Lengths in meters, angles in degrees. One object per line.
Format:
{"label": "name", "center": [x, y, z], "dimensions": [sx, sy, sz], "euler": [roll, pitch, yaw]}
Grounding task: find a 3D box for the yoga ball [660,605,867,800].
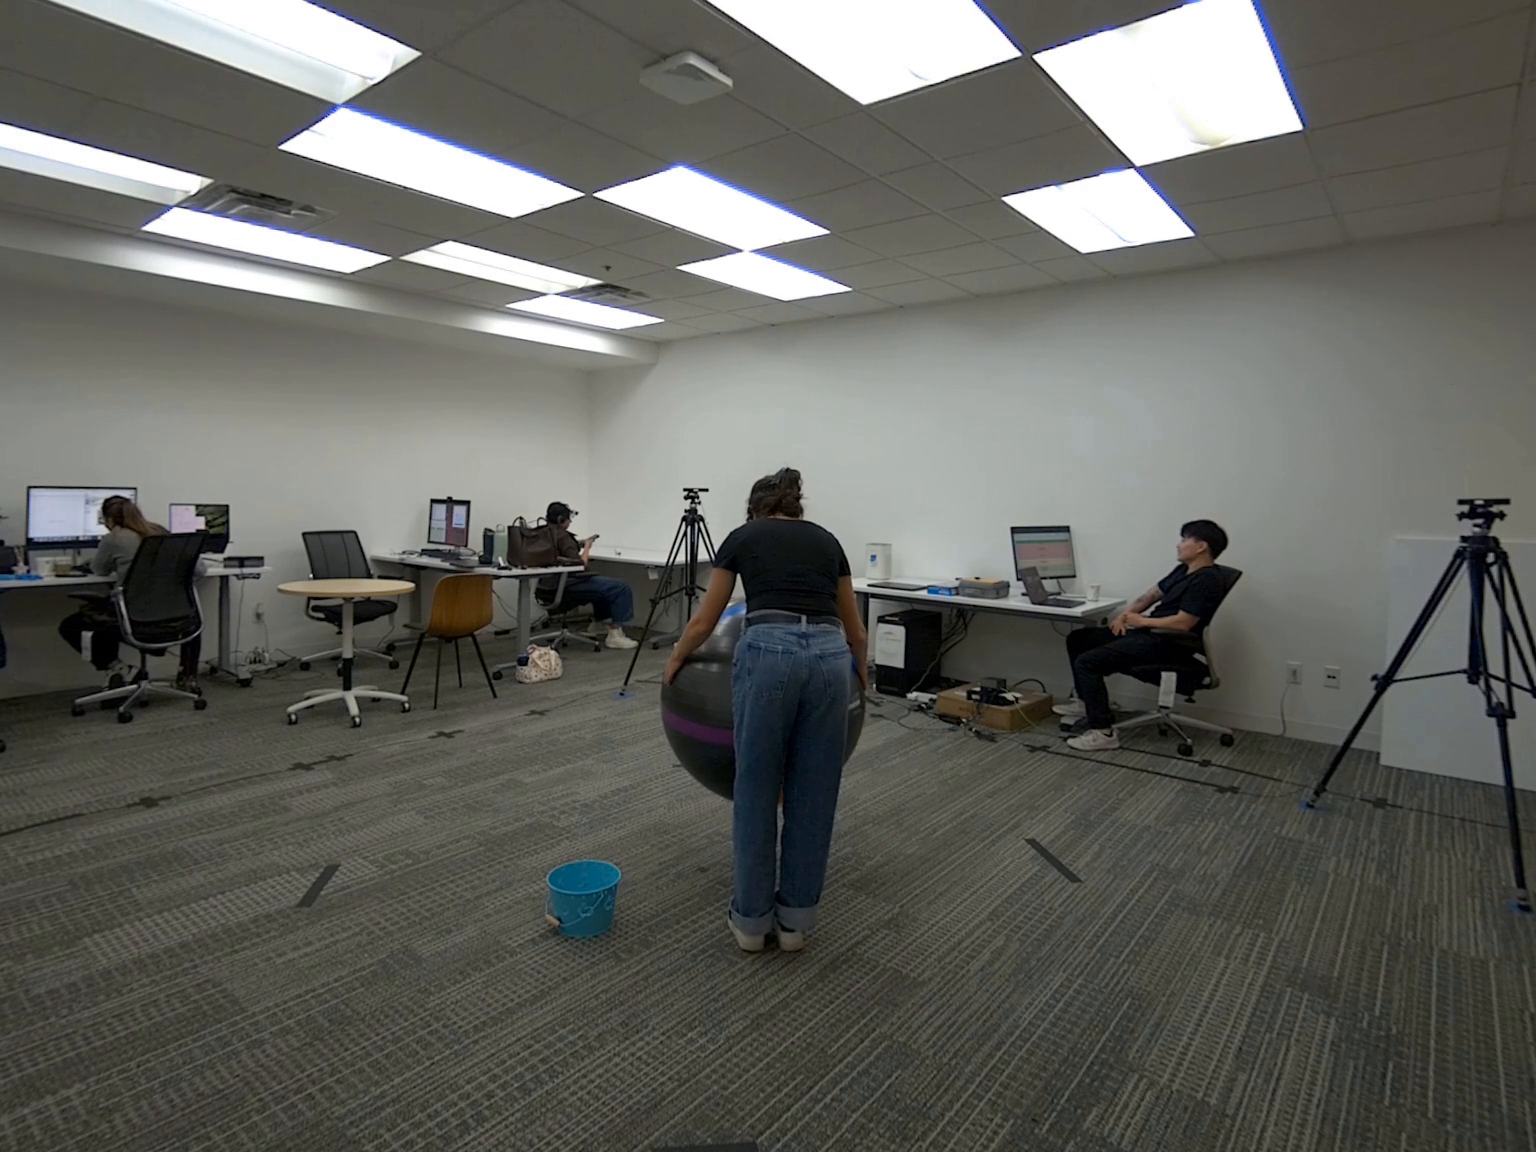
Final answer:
{"label": "yoga ball", "center": [-0.021, 0.457, 3.136], "dimensions": [0.757, 0.755, 0.762], "euler": [1, 4, -2]}
